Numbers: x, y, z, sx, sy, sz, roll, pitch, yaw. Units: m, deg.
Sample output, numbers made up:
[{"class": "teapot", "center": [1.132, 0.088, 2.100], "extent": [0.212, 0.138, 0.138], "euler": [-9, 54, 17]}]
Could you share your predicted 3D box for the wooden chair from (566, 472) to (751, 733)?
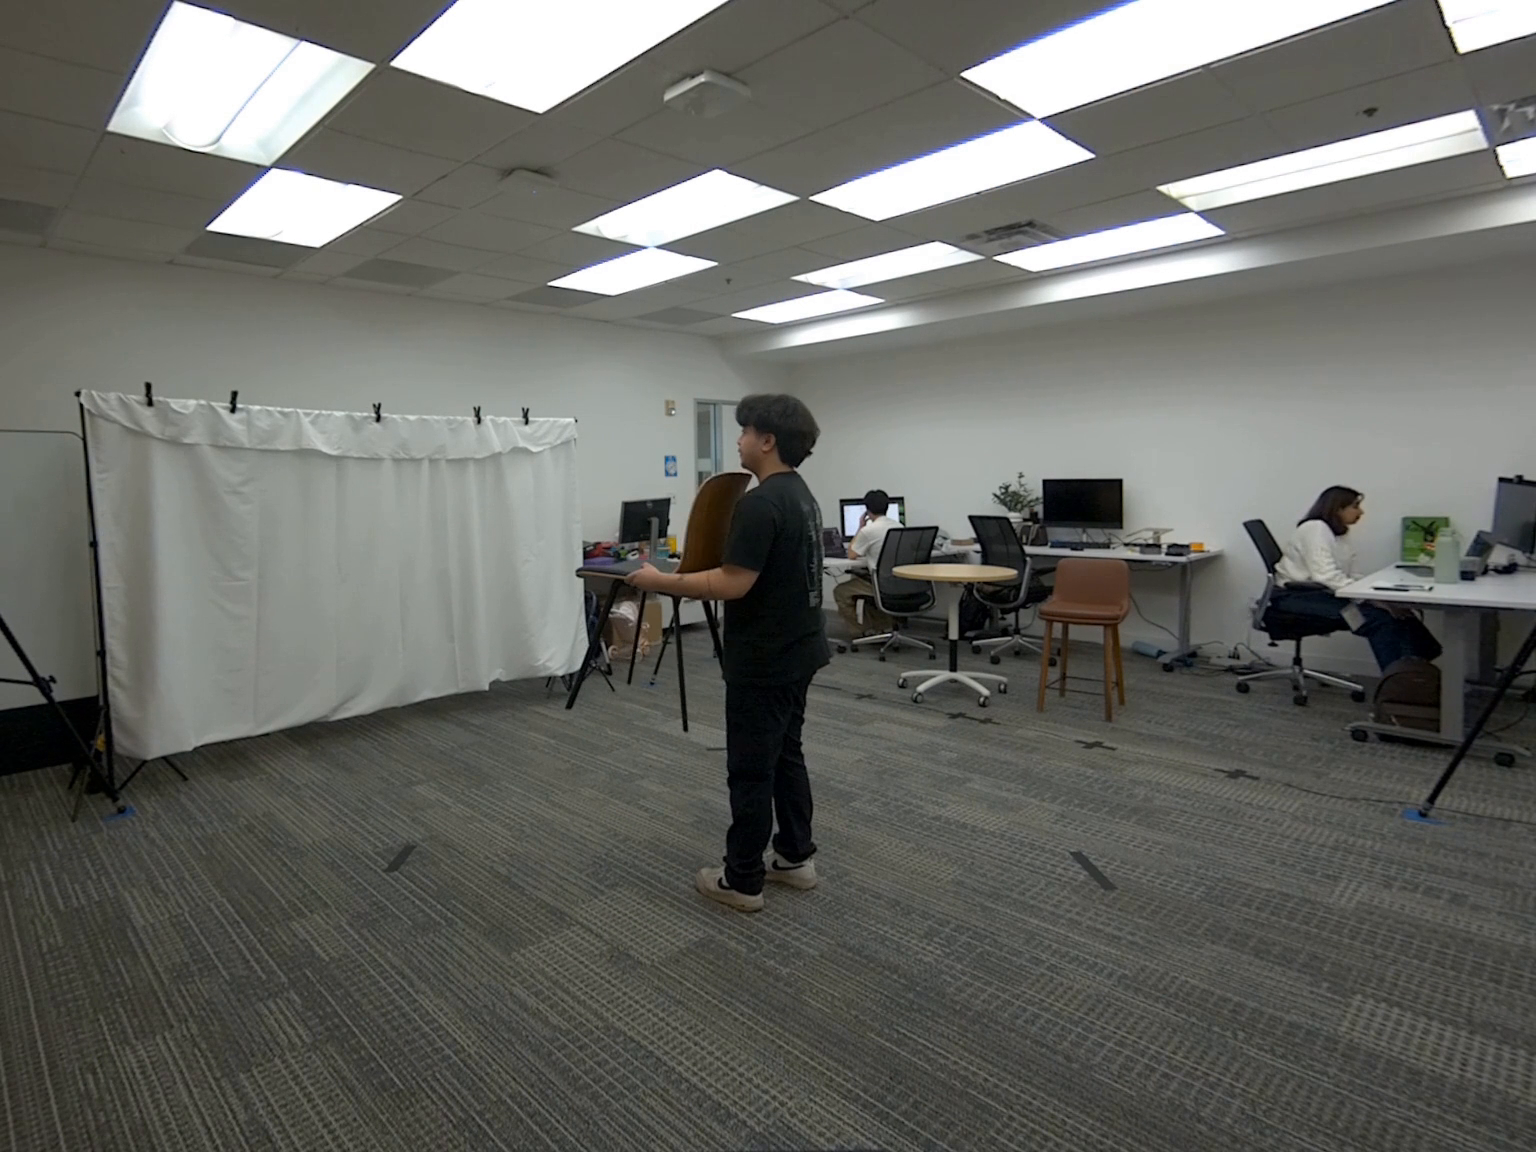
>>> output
[{"class": "wooden chair", "center": [-0.374, 0.039, 2.994], "extent": [0.534, 0.873, 0.470], "euler": [10, 6, 19]}]
